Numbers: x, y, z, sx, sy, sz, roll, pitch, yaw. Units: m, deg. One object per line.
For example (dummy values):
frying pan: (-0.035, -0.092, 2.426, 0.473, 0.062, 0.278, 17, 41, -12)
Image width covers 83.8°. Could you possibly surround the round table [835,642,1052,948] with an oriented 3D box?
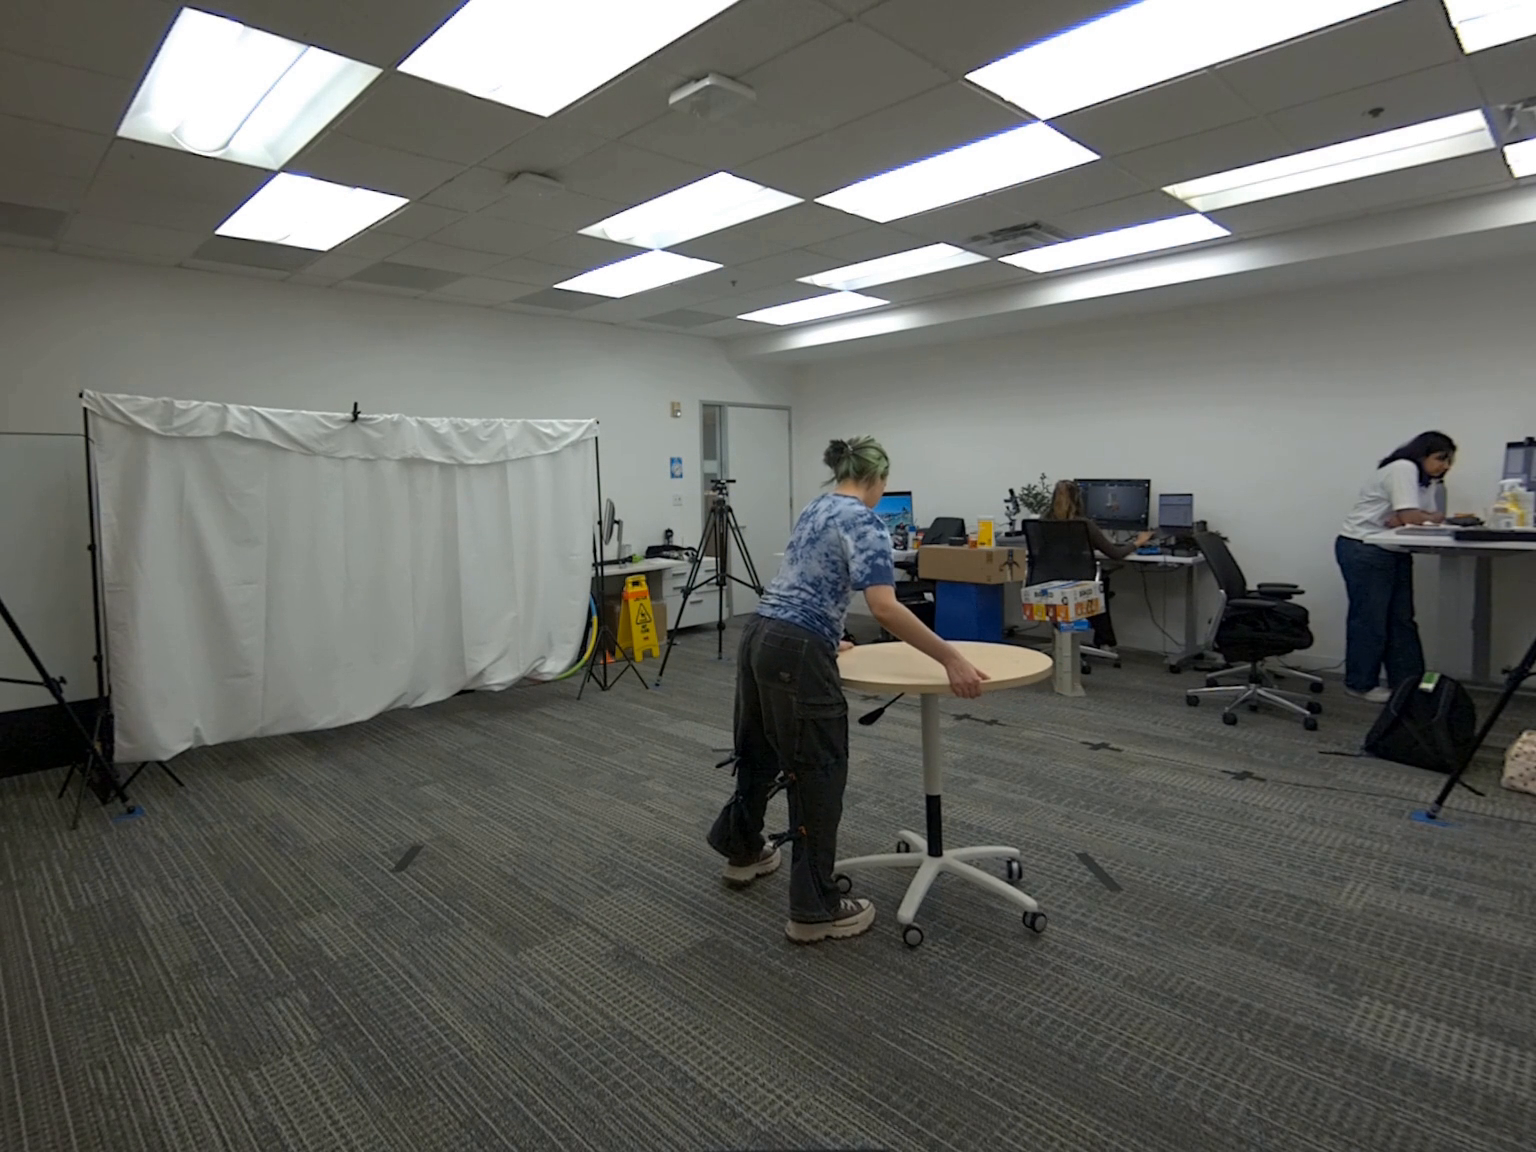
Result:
round table: (0.550, 0.670, 2.816, 0.763, 0.792, 0.767, -2, 3, -2)
